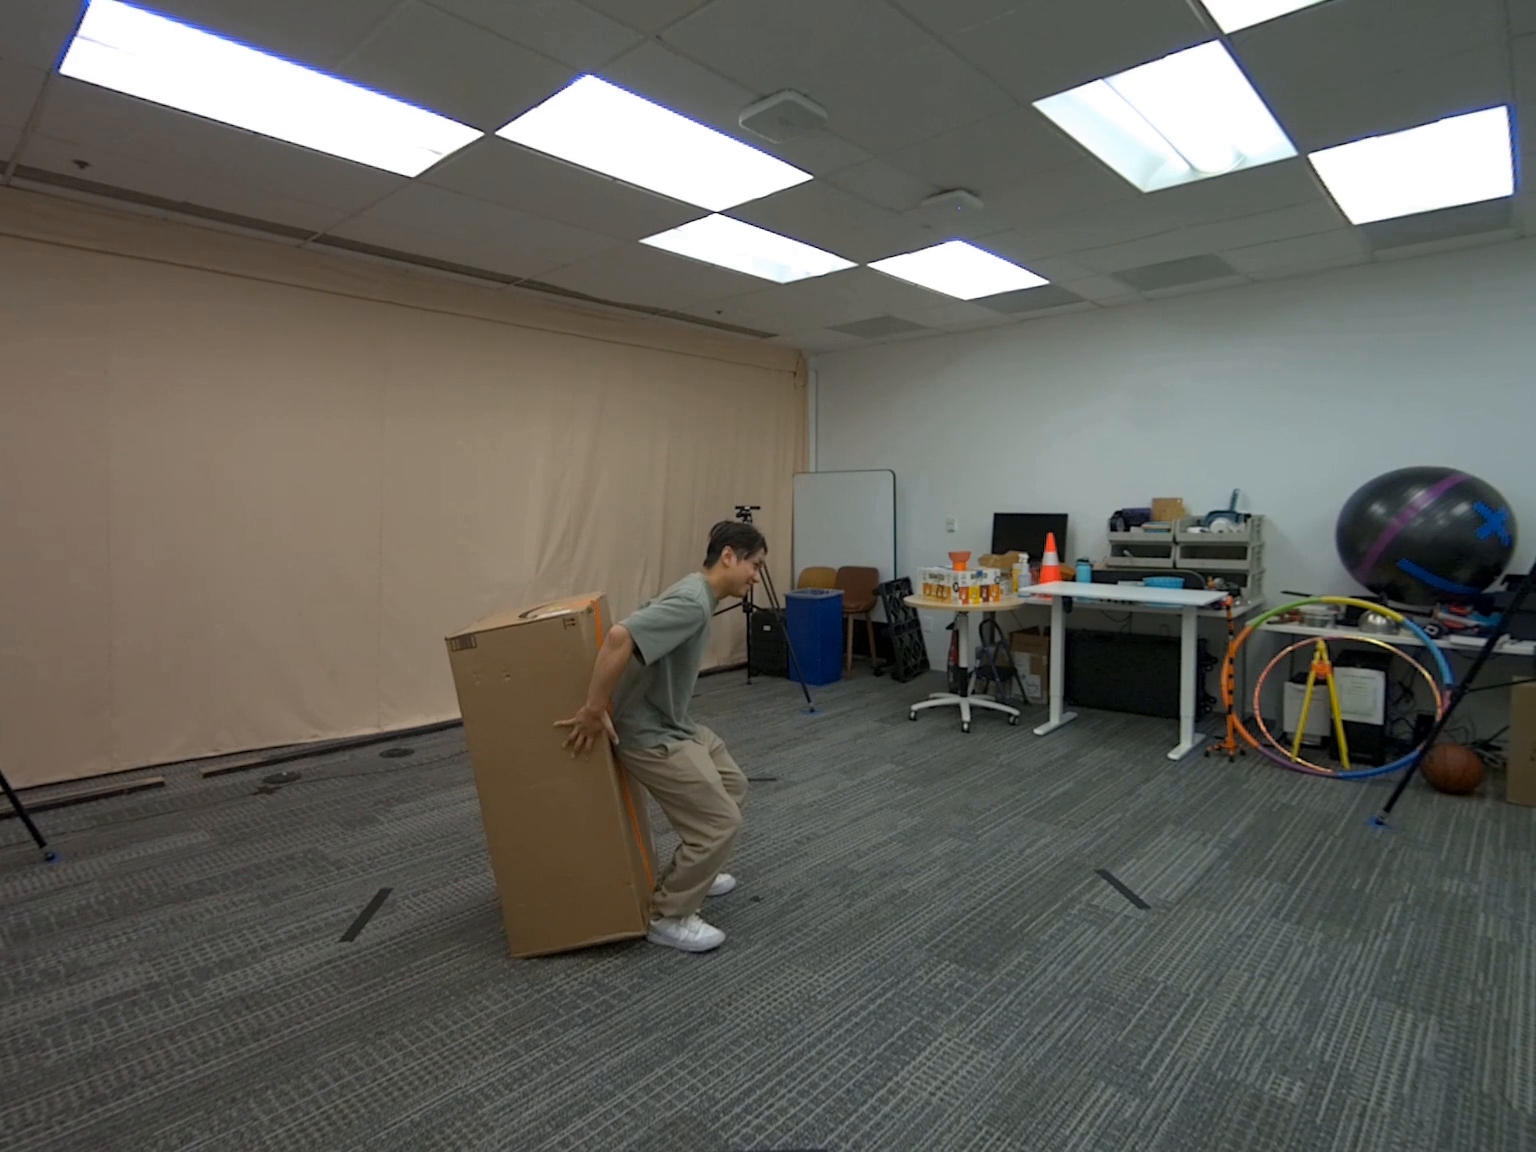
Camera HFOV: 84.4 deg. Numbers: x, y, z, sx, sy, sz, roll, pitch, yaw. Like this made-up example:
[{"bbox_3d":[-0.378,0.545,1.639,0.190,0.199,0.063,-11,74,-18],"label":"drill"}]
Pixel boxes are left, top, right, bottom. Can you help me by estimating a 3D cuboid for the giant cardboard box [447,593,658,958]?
[{"bbox_3d":[-0.701,0.616,2.846,0.426,1.024,0.579,-9,3,-2],"label":"giant cardboard box"}]
